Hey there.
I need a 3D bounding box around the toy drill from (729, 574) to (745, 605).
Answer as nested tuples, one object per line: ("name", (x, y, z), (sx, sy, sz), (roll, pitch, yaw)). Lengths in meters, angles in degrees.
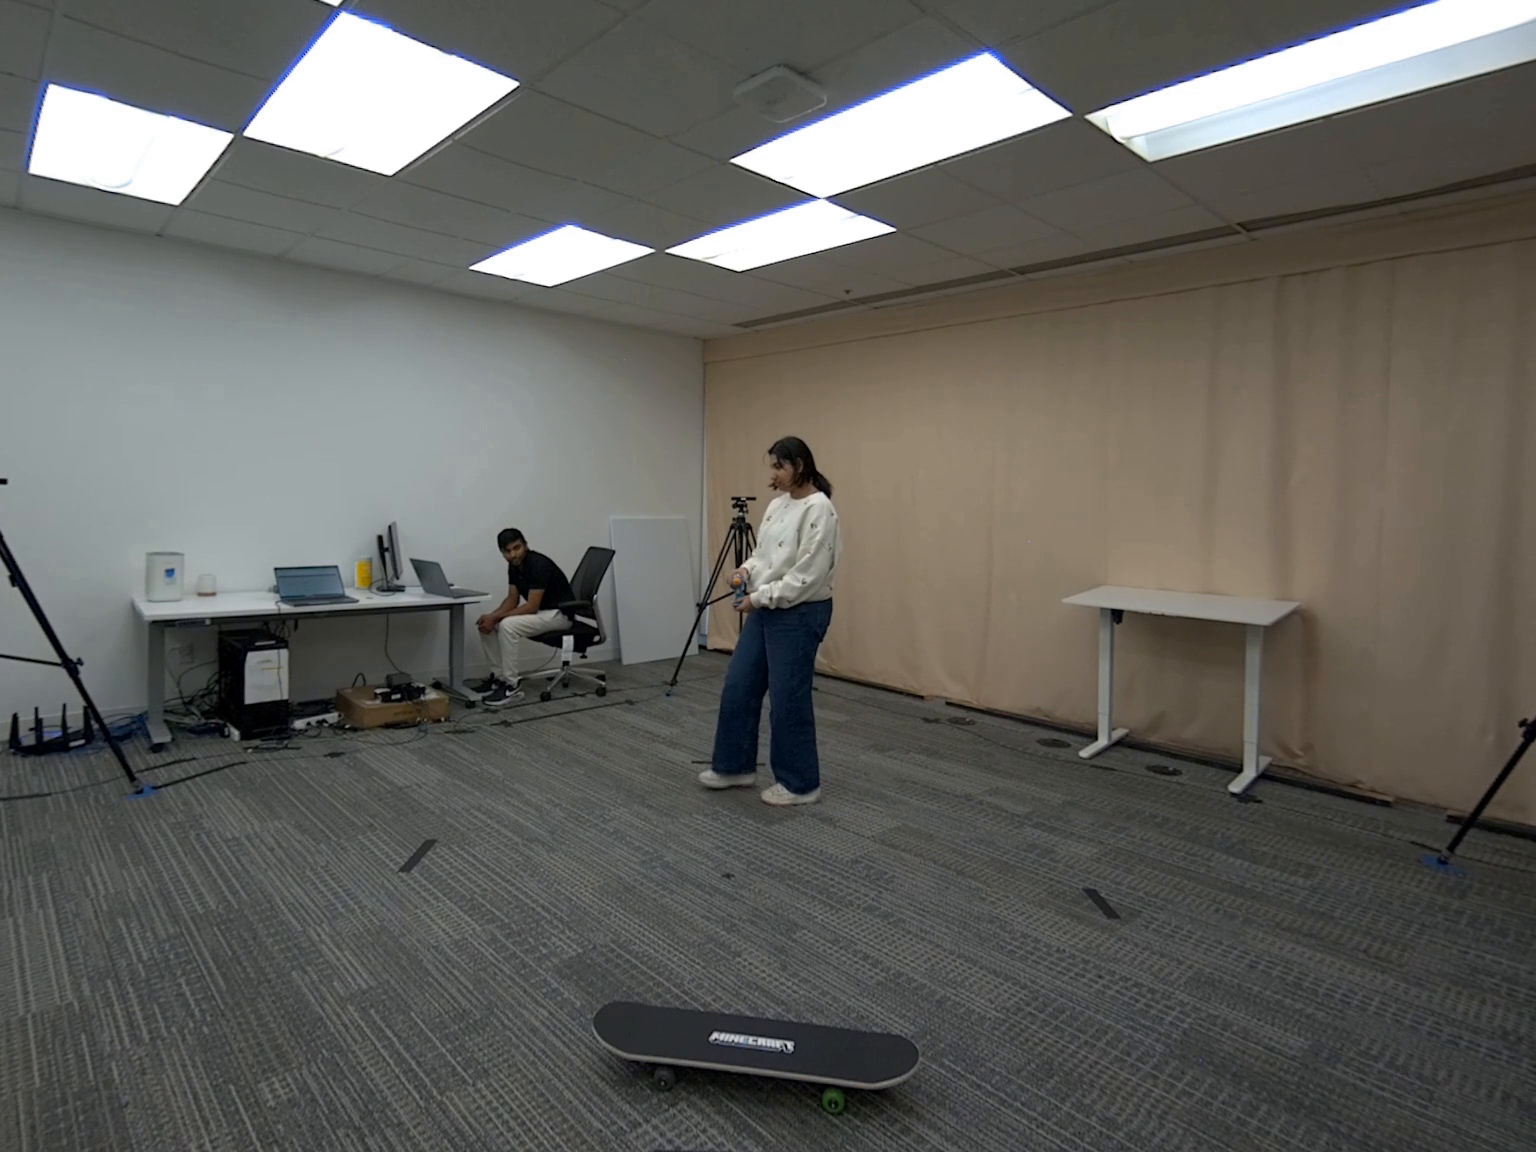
("toy drill", (-0.133, 0.061, 3.712), (0.061, 0.146, 0.169), (4, 0, 4))
